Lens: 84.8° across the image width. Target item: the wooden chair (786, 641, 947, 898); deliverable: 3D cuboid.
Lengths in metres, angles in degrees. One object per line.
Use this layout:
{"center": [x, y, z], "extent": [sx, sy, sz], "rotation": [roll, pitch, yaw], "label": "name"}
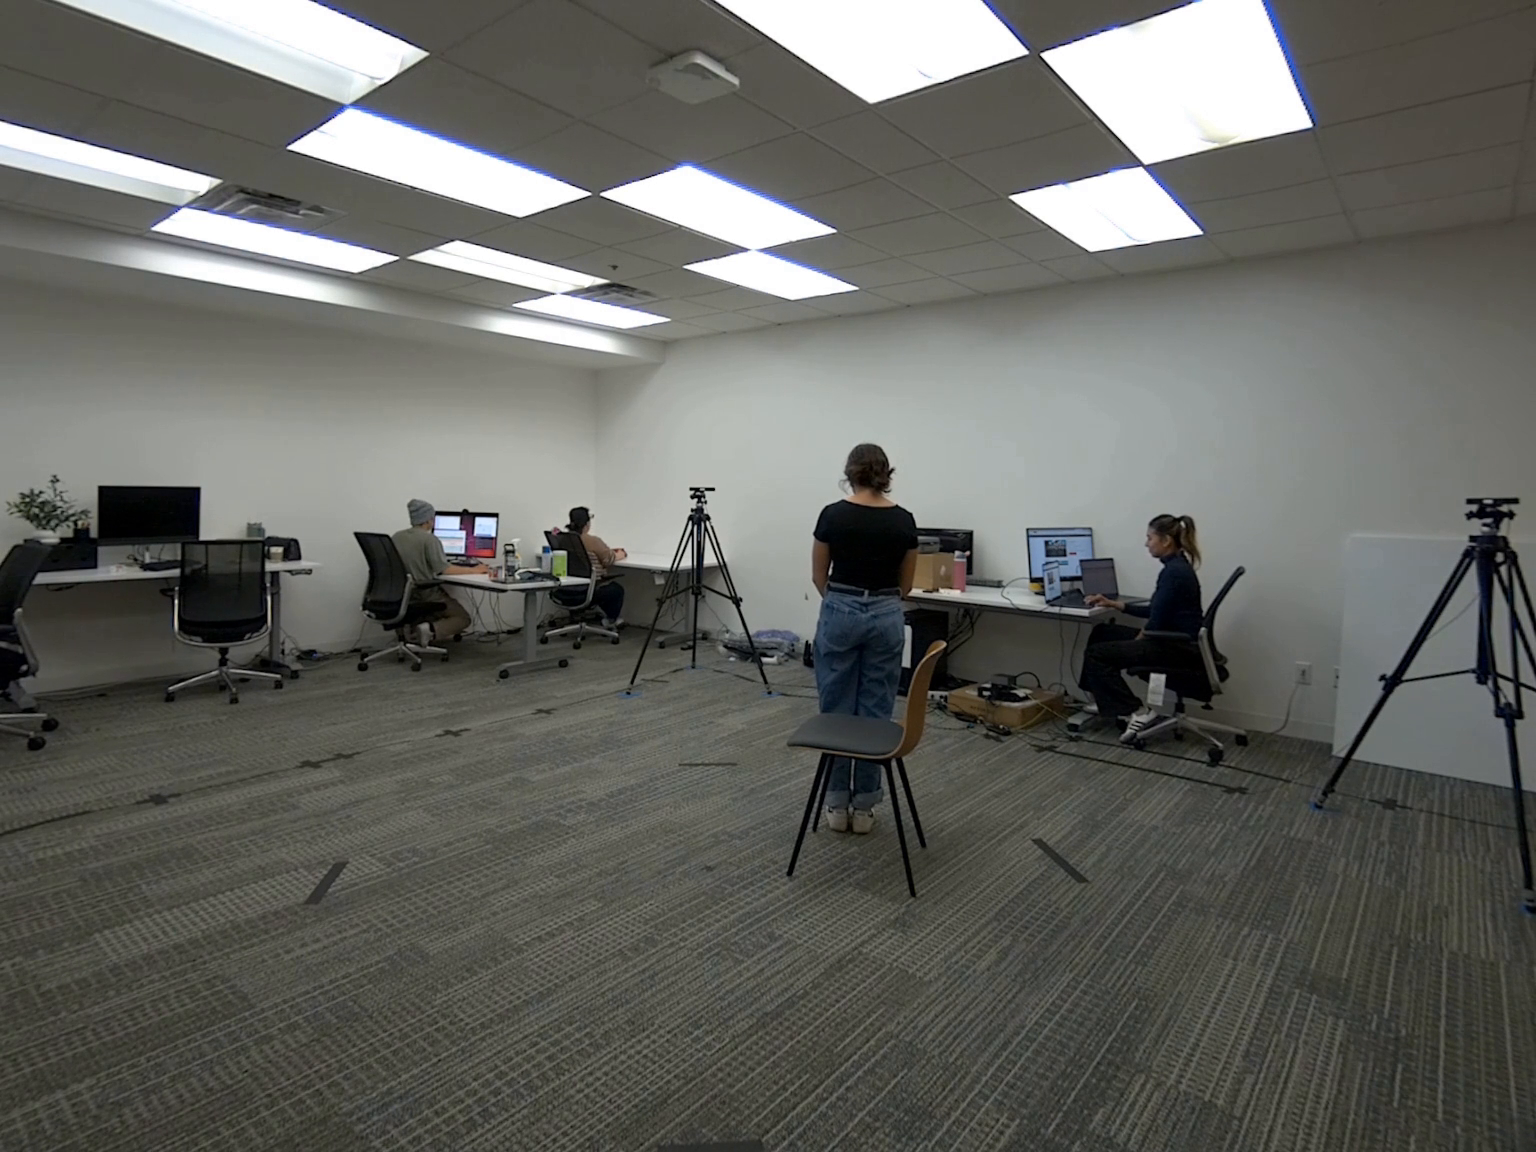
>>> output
{"center": [0.342, 0.644, 3.174], "extent": [0.534, 0.874, 0.470], "rotation": [7, 5, 17], "label": "wooden chair"}
